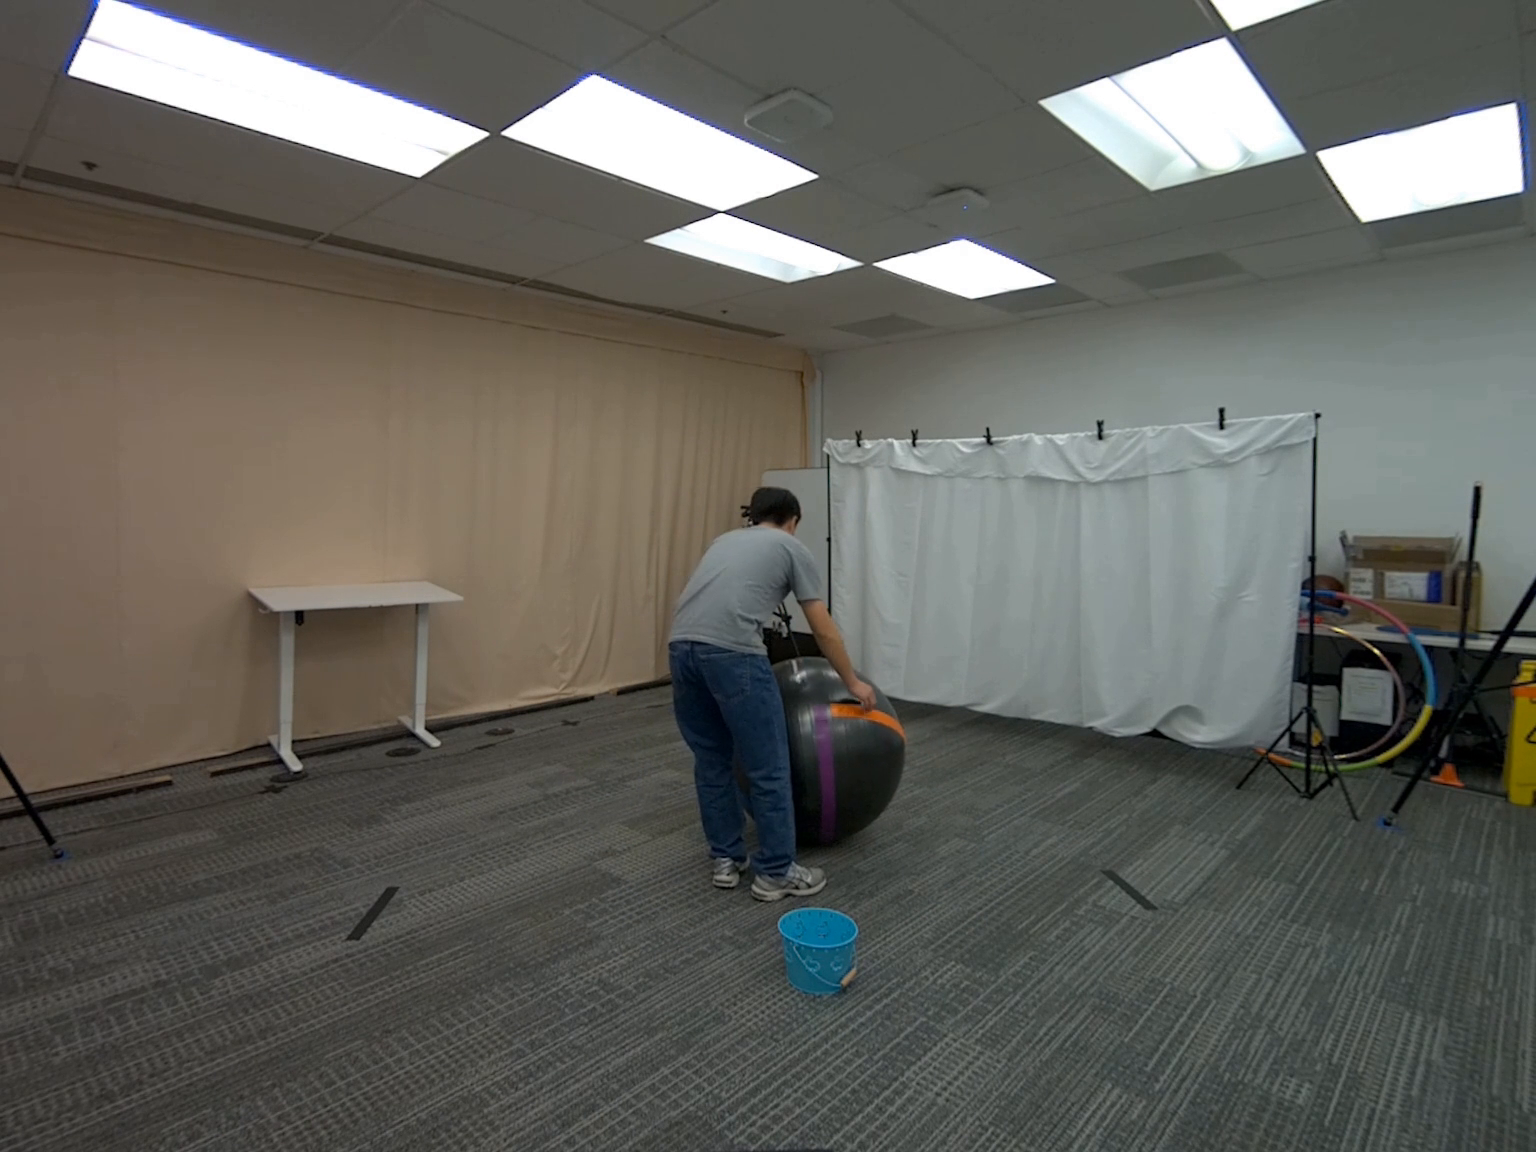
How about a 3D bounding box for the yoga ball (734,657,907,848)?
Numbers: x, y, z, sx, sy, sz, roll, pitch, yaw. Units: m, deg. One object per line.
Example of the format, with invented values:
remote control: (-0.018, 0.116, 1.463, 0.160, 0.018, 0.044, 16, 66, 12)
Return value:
yoga ball: (0.186, 0.728, 3.543, 0.757, 0.756, 0.760, 0, 4, -2)
